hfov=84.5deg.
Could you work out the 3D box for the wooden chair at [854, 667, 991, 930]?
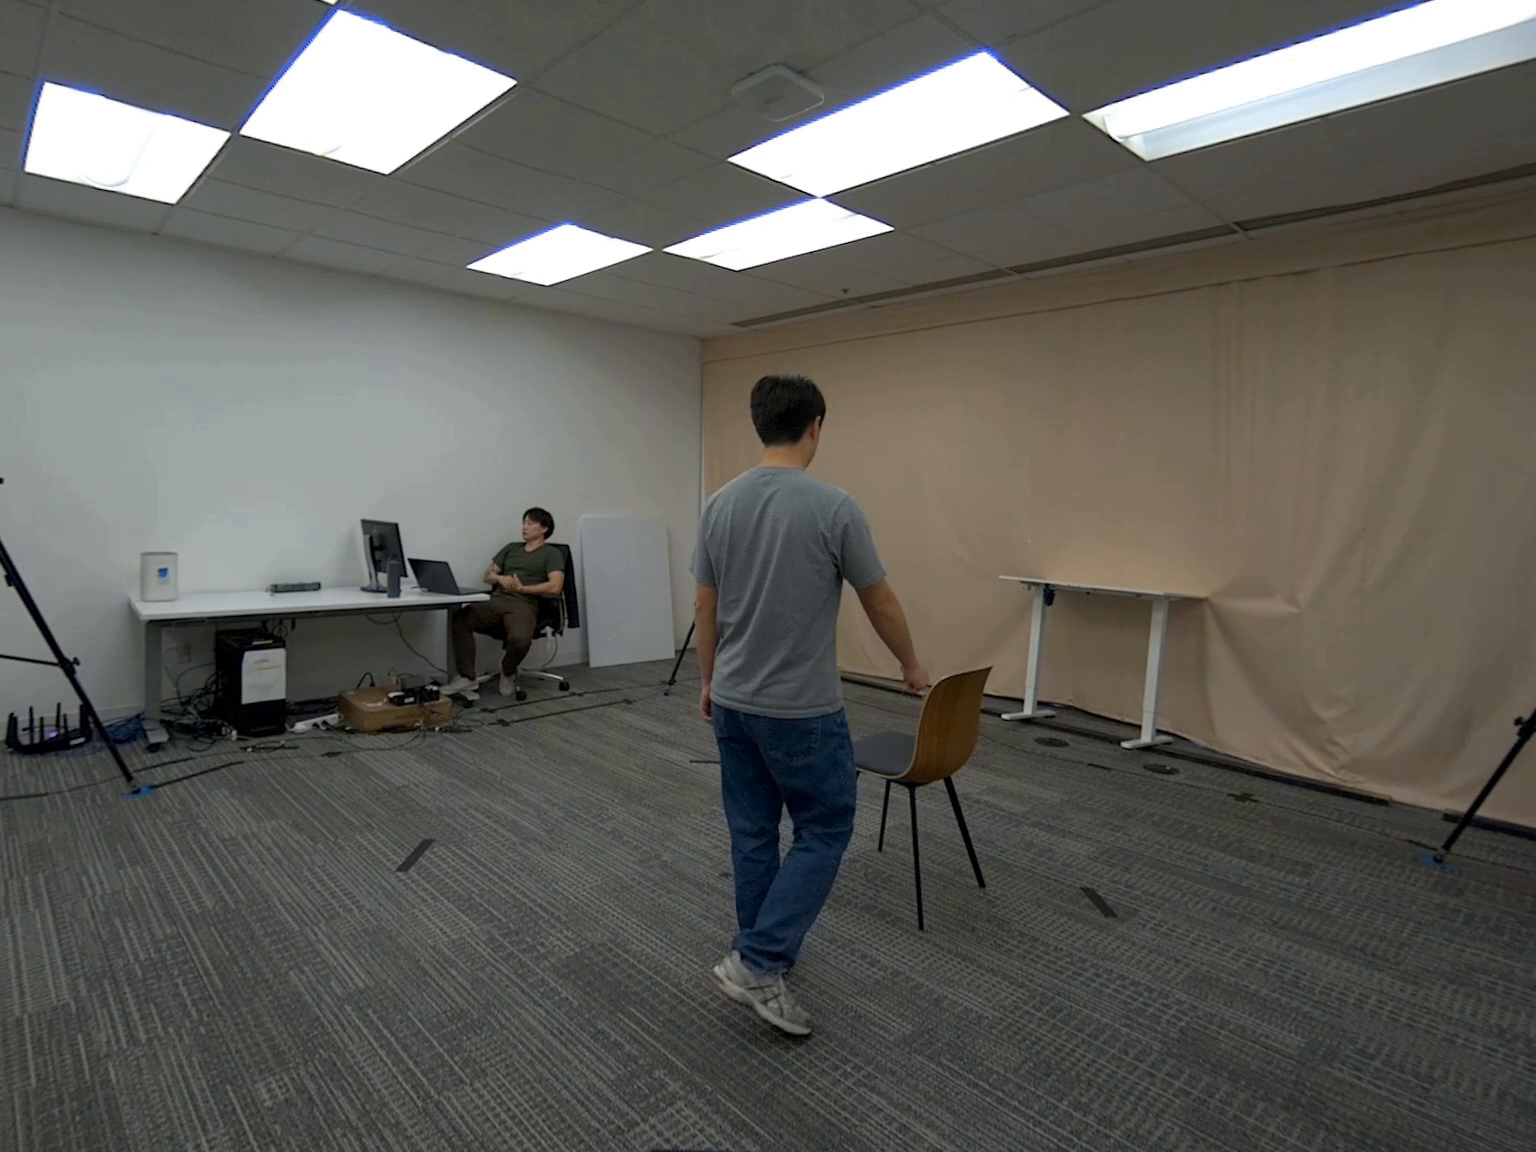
[{"bbox_3d":[0.475,0.699,3.023,0.537,0.873,0.467,11,8,40],"label":"wooden chair"}]
